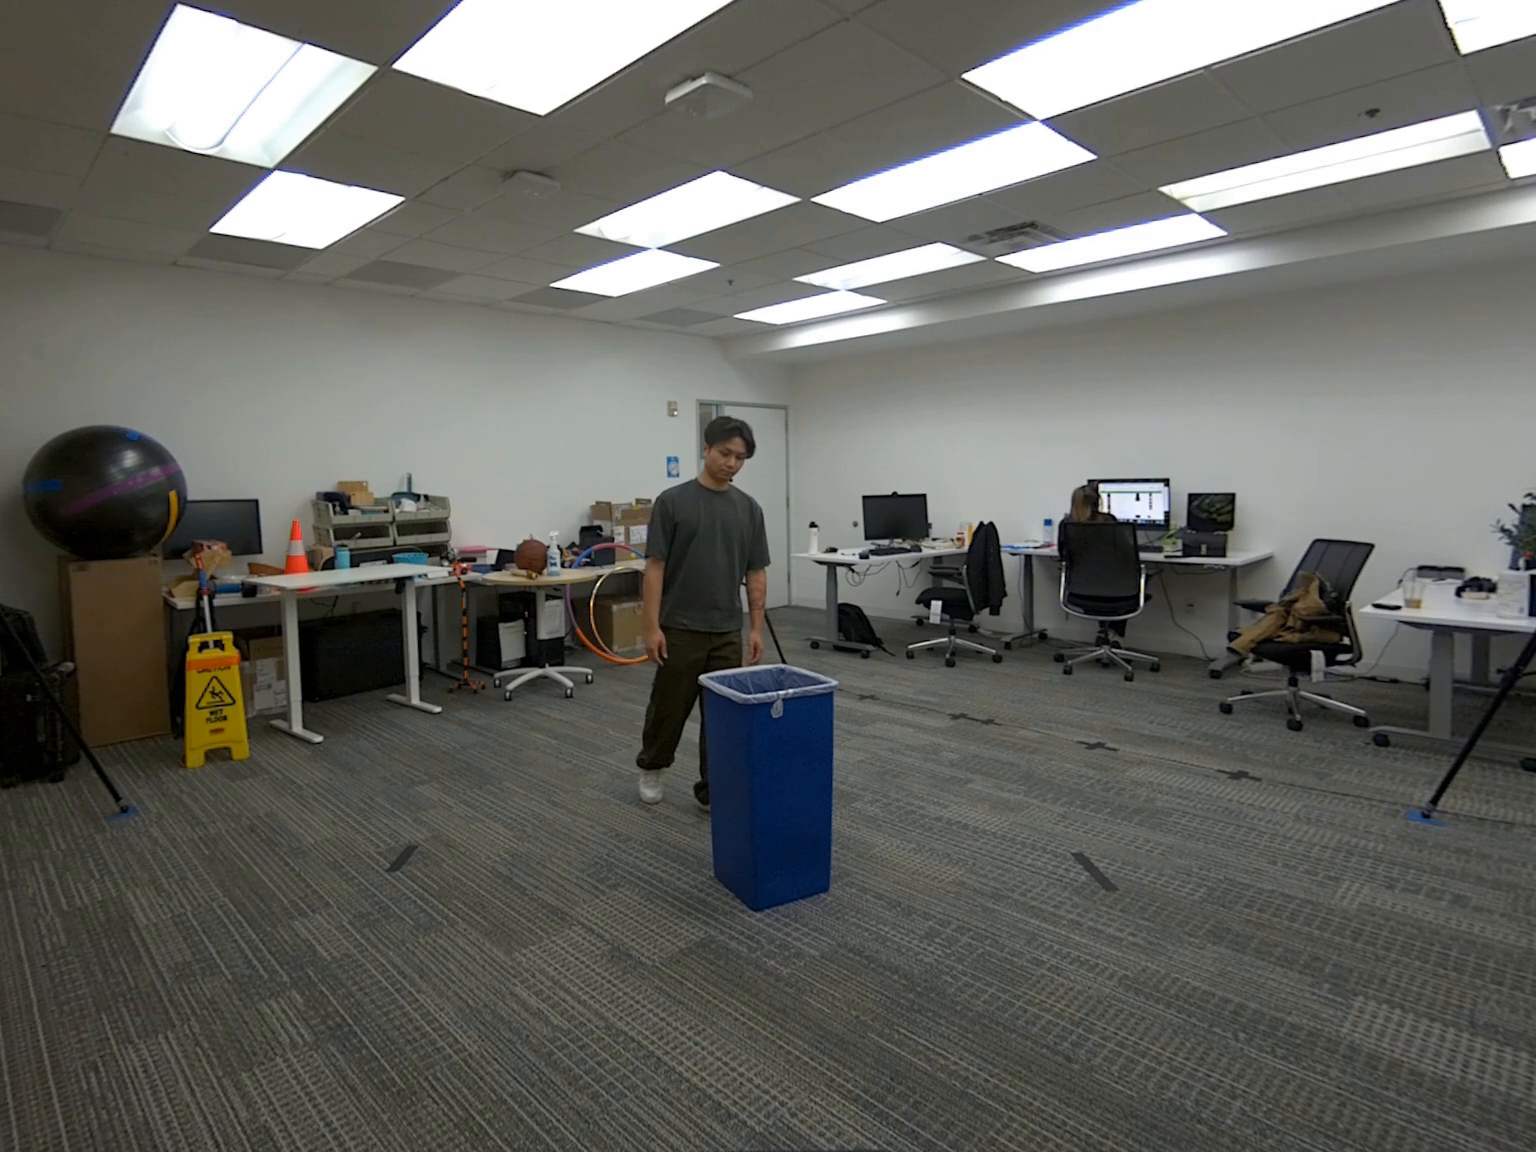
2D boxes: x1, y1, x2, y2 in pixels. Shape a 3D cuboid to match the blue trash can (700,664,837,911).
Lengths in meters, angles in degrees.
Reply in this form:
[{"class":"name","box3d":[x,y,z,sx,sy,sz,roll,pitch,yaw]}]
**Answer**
[{"class":"blue trash can","box3d":[0.010,0.703,2.941,0.365,0.711,0.388,-4,4,-29]}]
